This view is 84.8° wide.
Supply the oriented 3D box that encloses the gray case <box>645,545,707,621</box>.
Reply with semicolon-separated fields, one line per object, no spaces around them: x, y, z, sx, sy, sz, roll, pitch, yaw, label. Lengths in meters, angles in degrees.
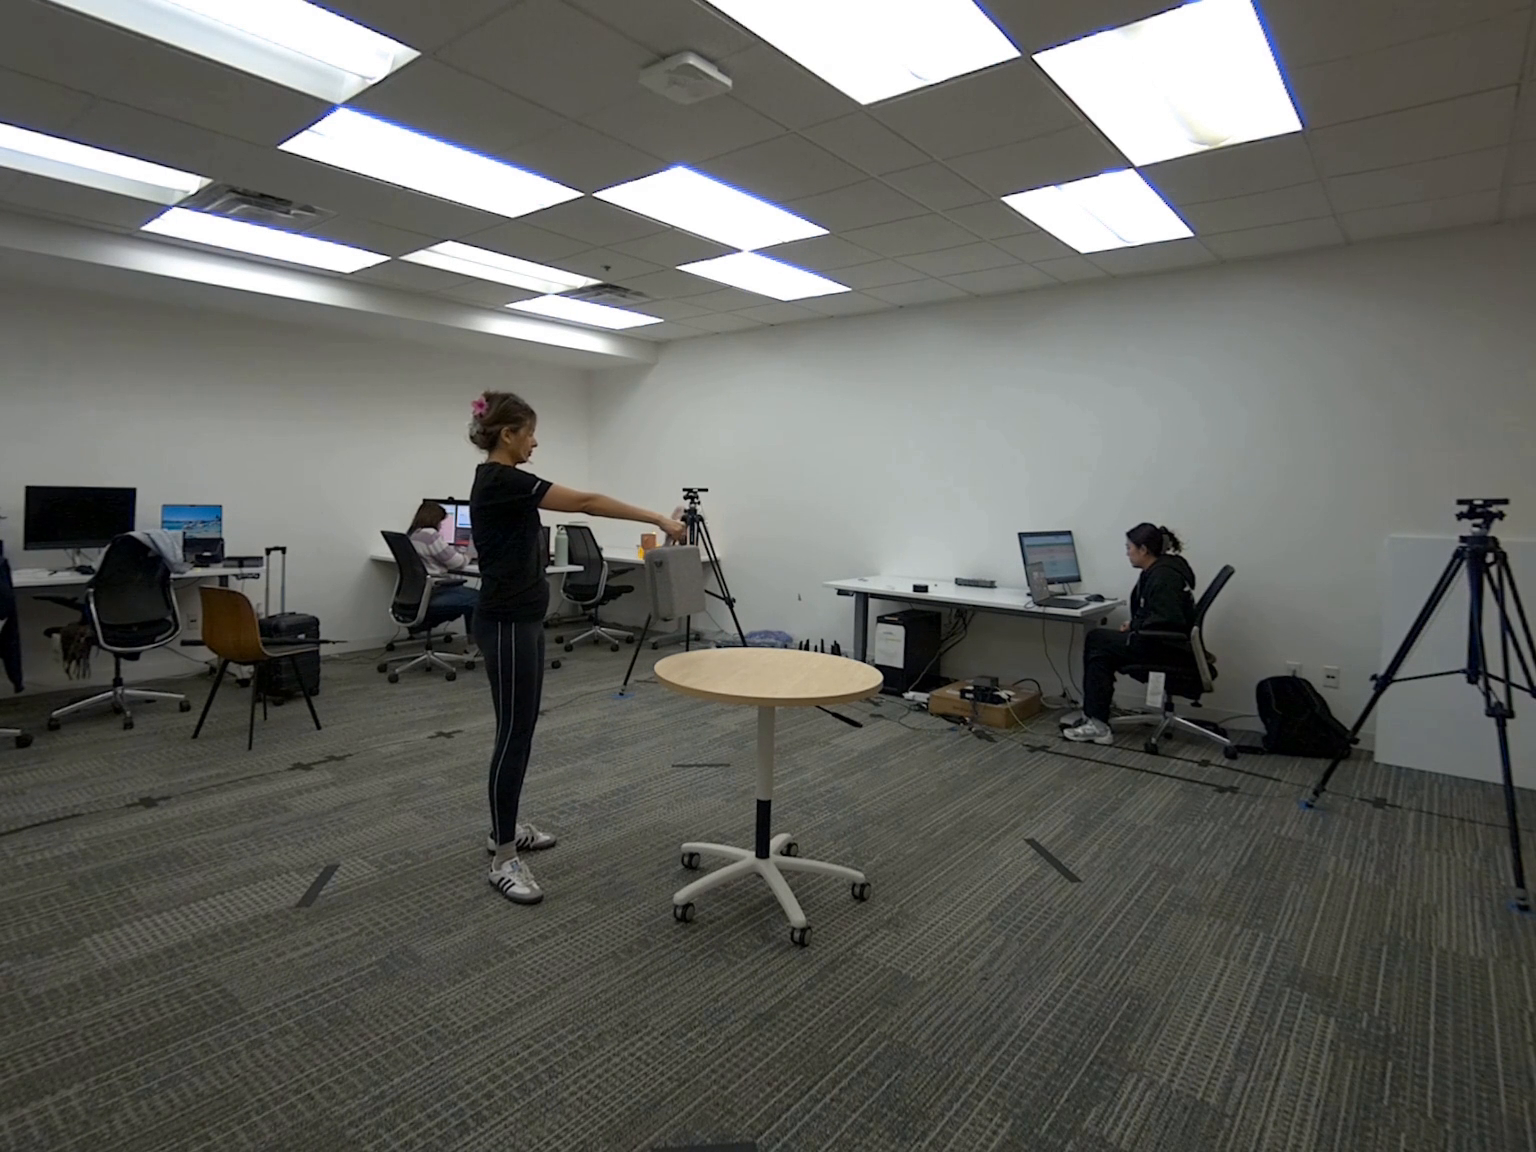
-0.343;0.014;3.035;0.106;0.260;0.252;-6;1;23;gray case
